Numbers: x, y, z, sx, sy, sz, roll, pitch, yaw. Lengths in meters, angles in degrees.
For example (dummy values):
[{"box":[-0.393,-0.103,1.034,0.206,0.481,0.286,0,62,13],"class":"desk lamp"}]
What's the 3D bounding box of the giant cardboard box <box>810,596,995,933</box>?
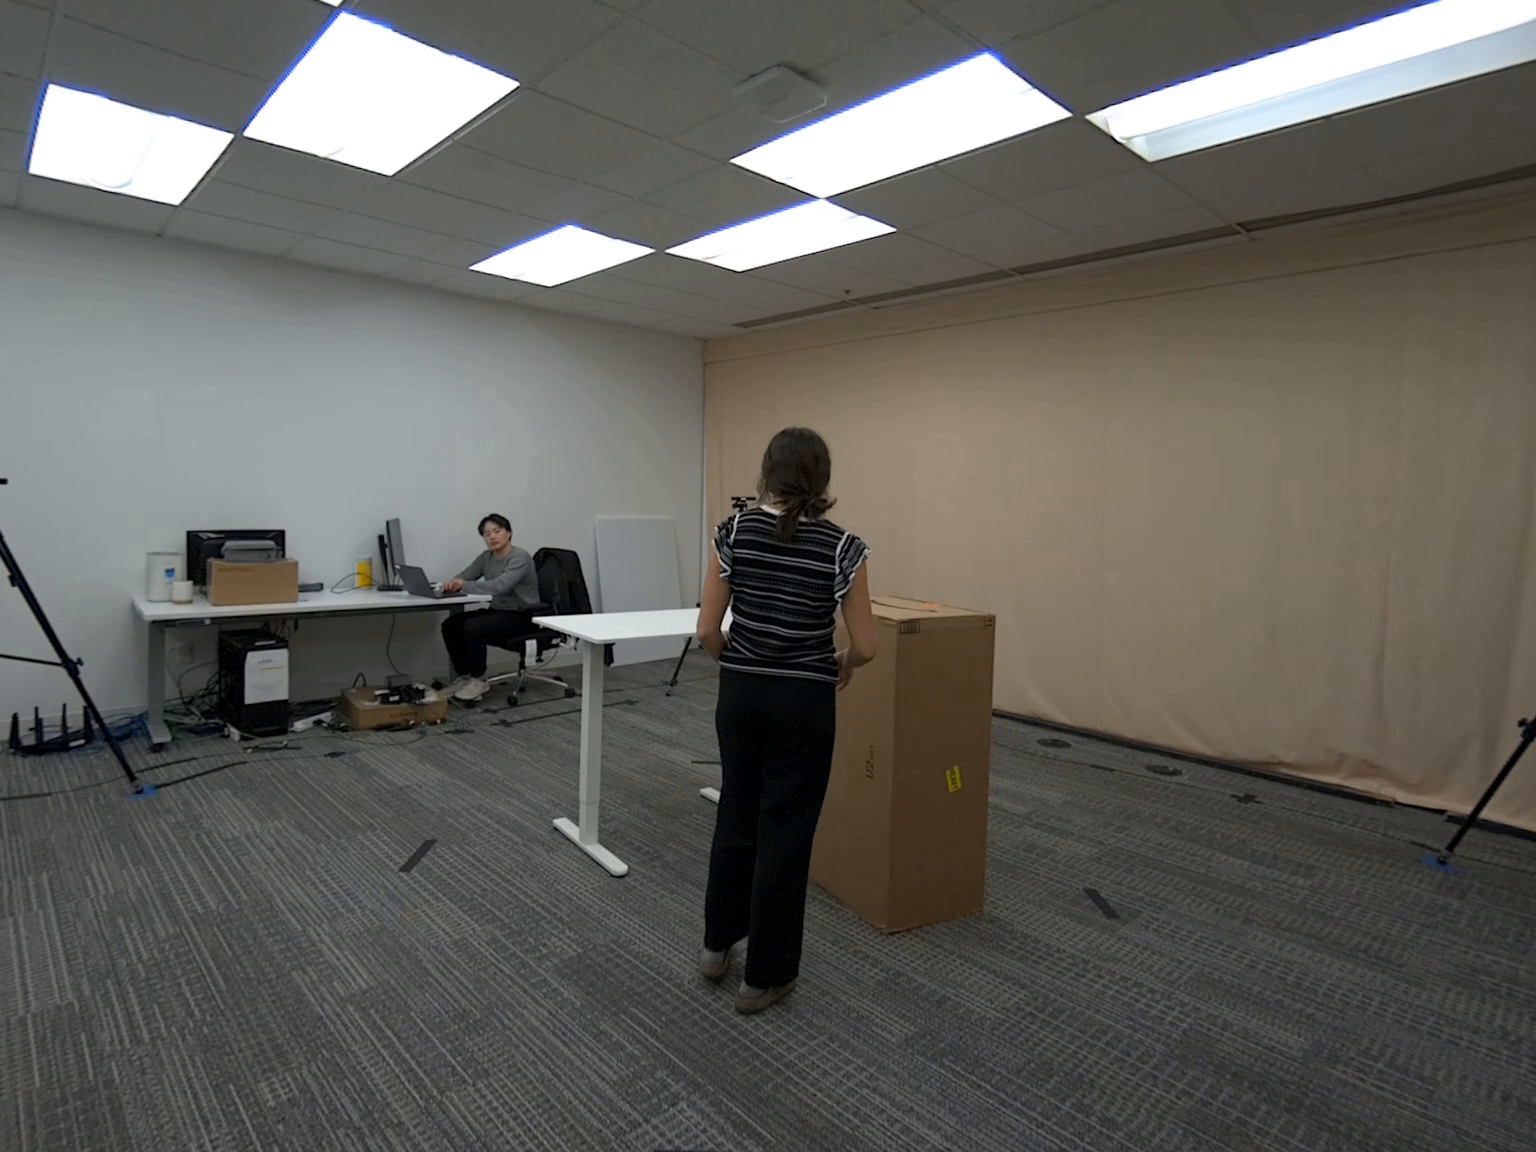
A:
[{"box":[0.433,0.617,3.029,0.418,1.024,0.590,0,3,-28],"class":"giant cardboard box"}]
